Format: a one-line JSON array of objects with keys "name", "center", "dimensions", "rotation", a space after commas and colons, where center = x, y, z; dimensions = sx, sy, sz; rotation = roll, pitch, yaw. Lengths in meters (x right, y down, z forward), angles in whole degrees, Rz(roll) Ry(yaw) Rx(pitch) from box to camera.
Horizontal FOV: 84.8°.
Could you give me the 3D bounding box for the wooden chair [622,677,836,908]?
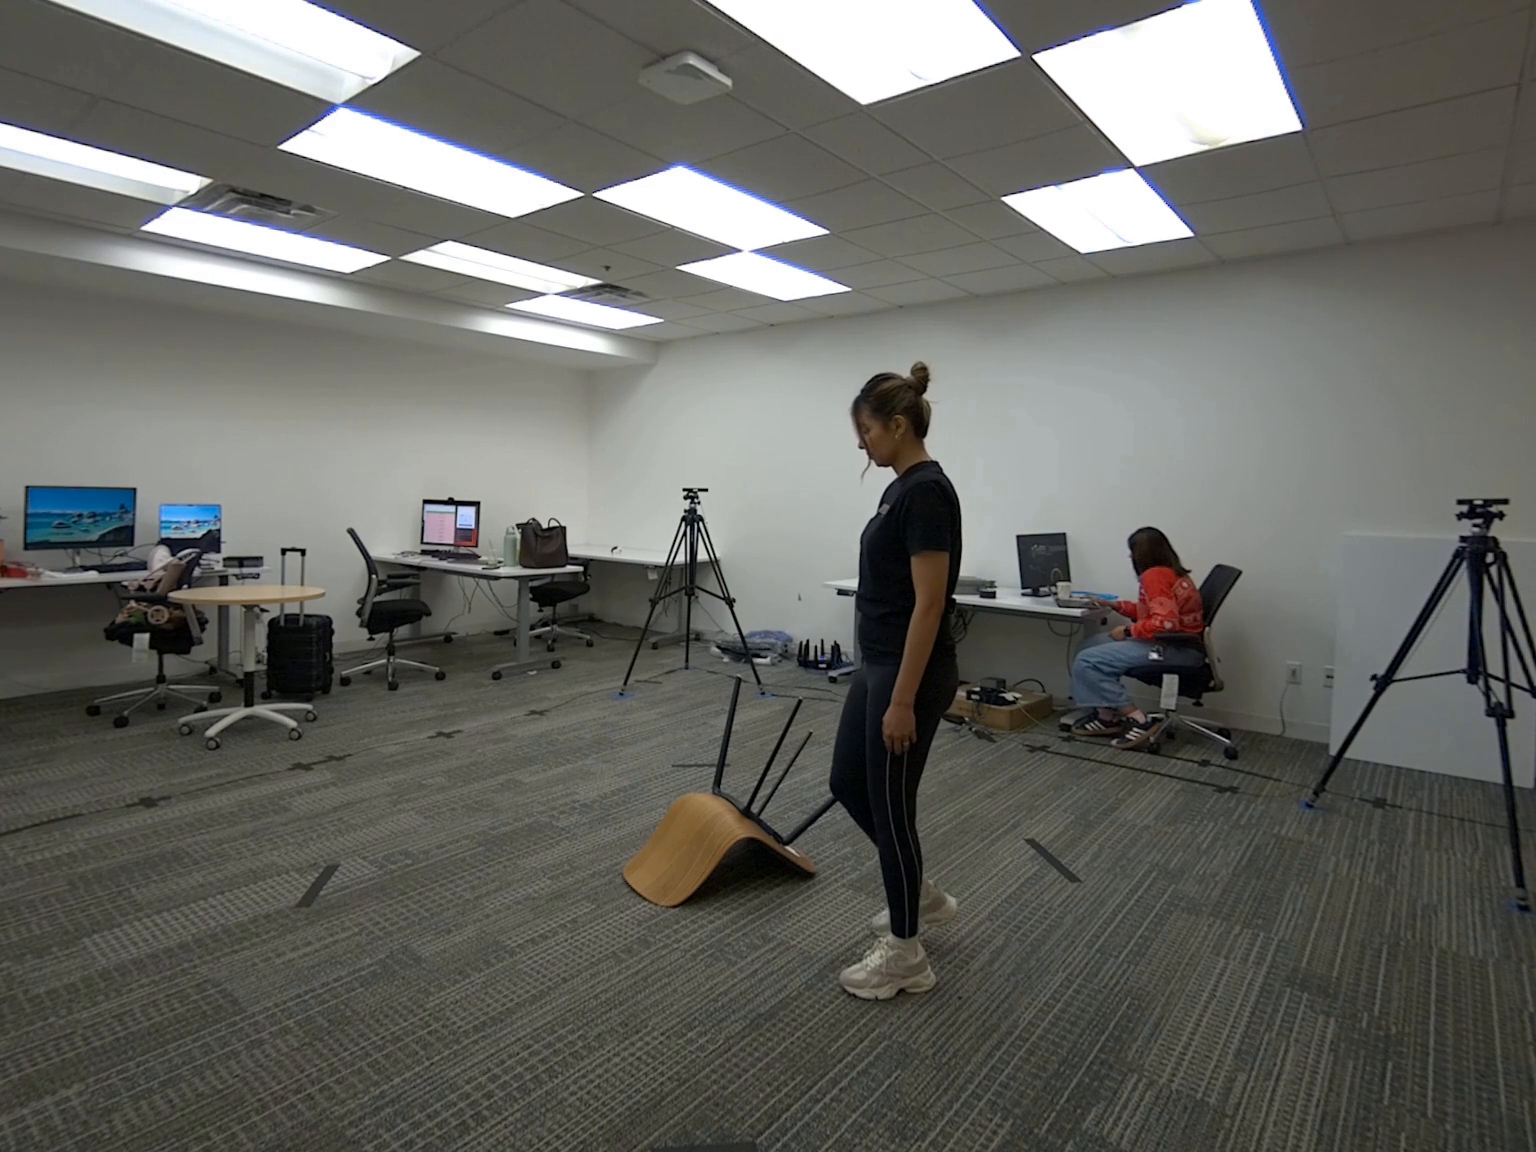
[{"name": "wooden chair", "center": [-0.073, 0.895, 3.162], "dimensions": [0.507, 0.879, 0.493], "rotation": [44, -18, -25]}]
